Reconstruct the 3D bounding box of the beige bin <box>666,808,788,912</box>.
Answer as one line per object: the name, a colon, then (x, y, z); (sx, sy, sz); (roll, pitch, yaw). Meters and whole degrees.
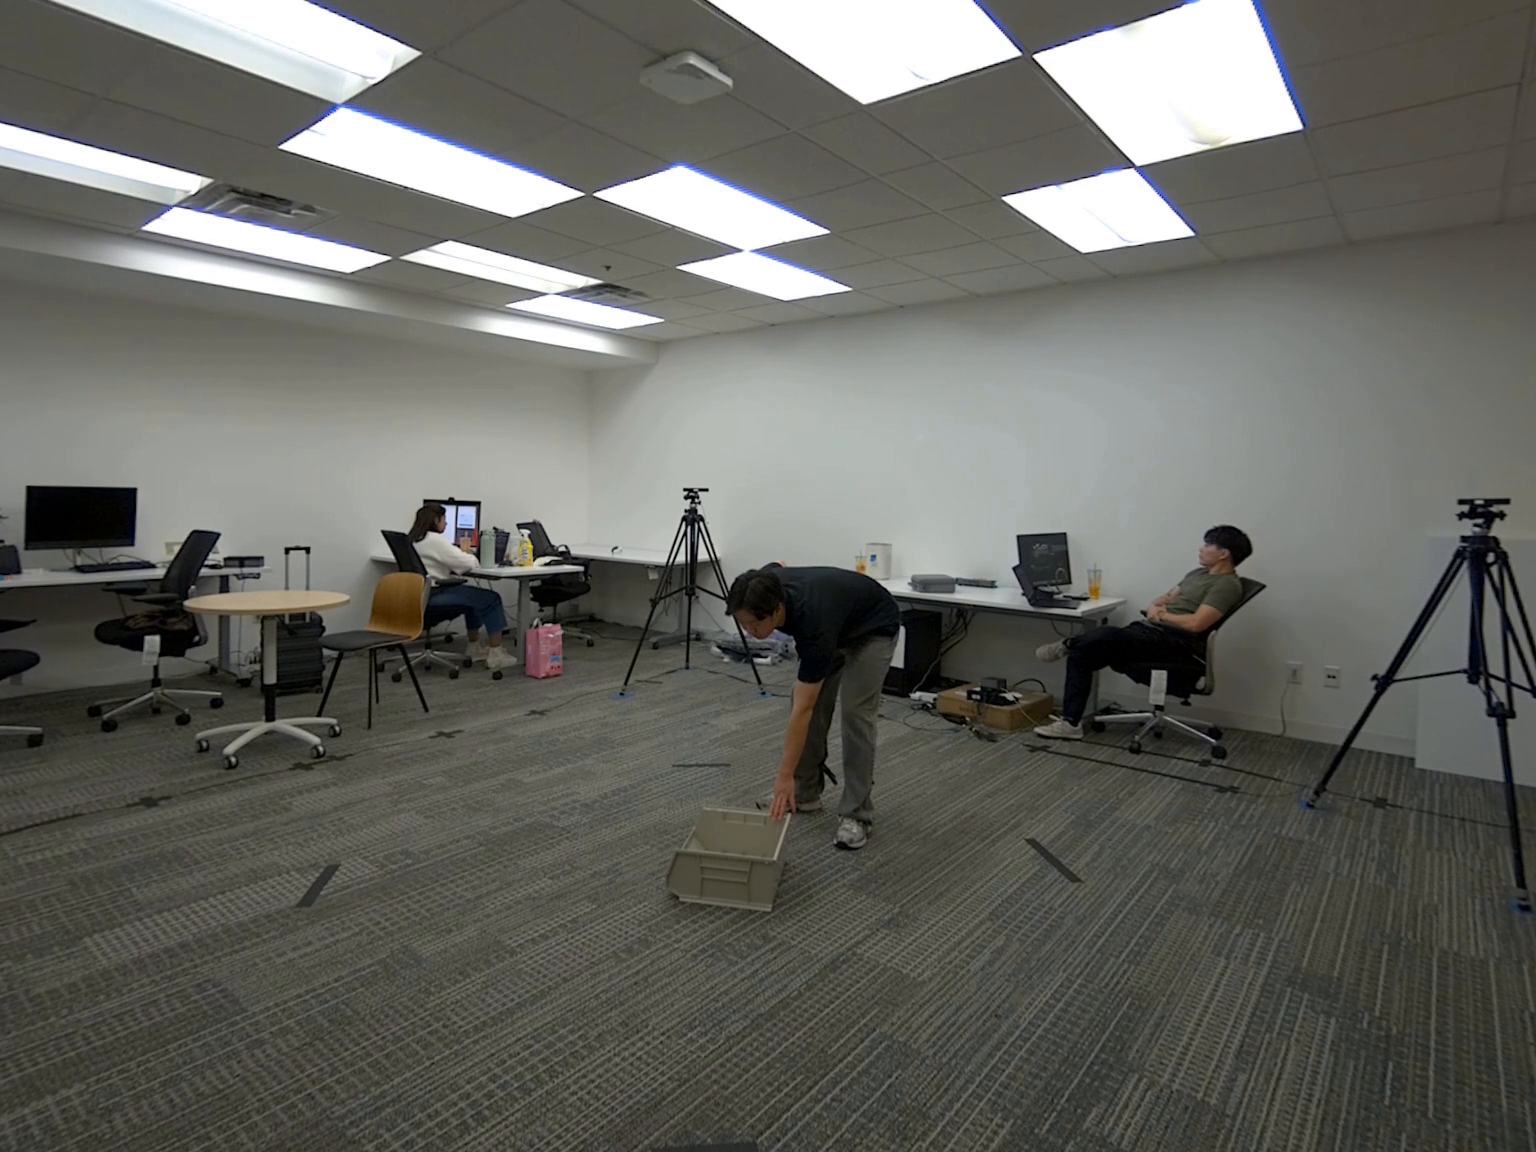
beige bin: (-0.141, 0.991, 3.027); (0.382, 0.188, 0.419); (3, 5, 9)
